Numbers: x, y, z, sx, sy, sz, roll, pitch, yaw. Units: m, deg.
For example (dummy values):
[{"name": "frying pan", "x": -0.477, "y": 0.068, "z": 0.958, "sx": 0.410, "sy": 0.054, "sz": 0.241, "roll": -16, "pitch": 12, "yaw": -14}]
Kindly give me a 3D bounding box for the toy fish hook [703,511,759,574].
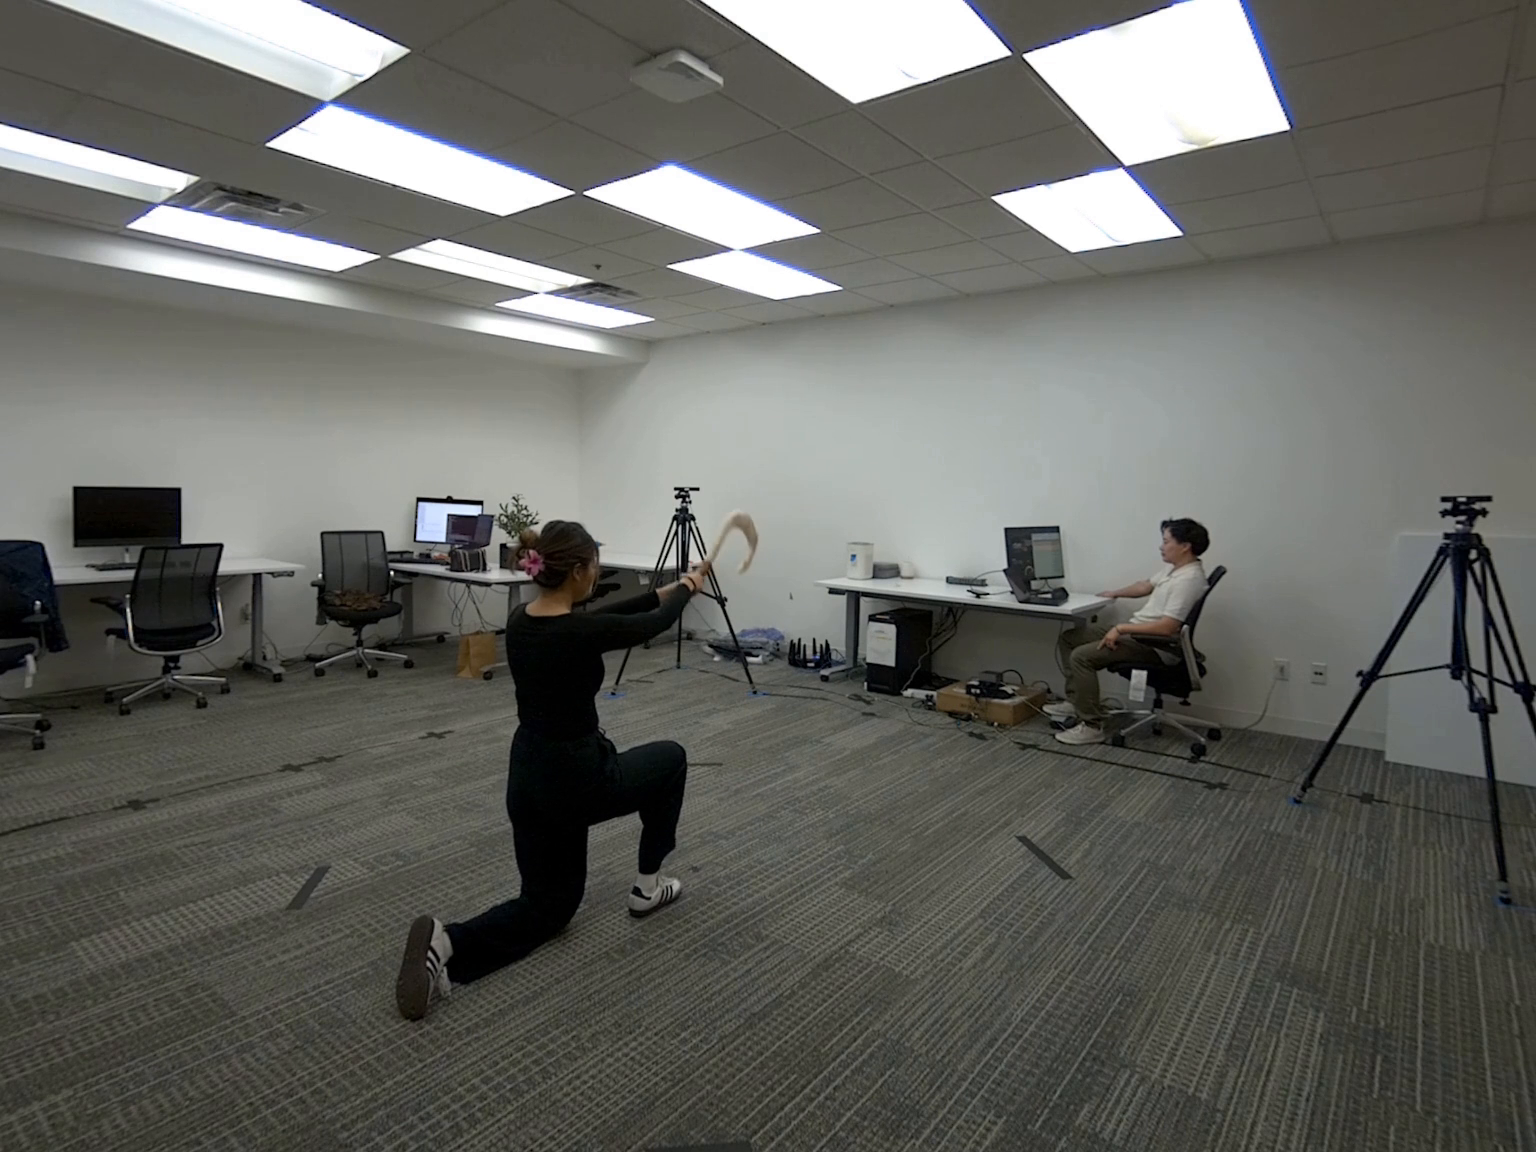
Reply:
[{"name": "toy fish hook", "x": -0.209, "y": -0.031, "z": 3.180, "sx": 0.049, "sy": 0.218, "sz": 0.508, "roll": -7, "pitch": 36, "yaw": 44}]
